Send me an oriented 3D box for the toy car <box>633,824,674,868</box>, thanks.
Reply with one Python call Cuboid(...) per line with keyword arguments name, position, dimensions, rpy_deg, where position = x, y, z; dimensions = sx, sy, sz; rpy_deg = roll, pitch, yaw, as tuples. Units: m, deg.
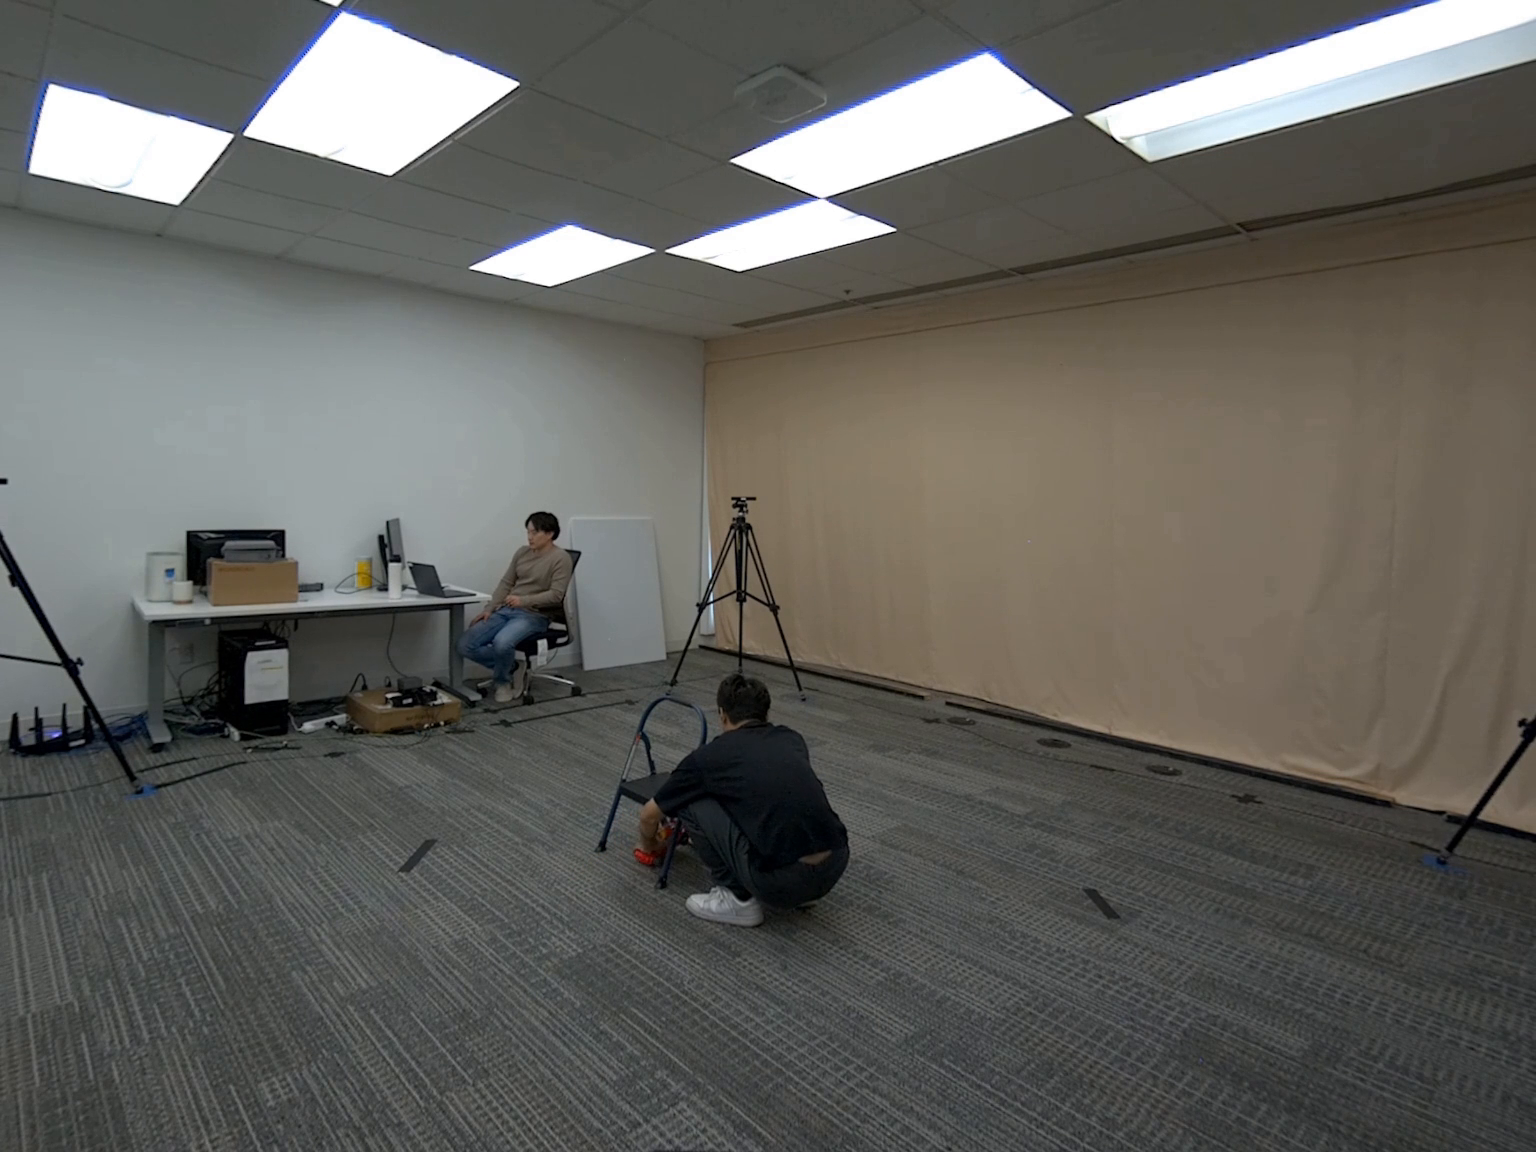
Cuboid(name="toy car", position=(-0.406, 1.040, 3.250), dimensions=(0.134, 0.082, 0.252), rpy_deg=(7, 31, 45))
